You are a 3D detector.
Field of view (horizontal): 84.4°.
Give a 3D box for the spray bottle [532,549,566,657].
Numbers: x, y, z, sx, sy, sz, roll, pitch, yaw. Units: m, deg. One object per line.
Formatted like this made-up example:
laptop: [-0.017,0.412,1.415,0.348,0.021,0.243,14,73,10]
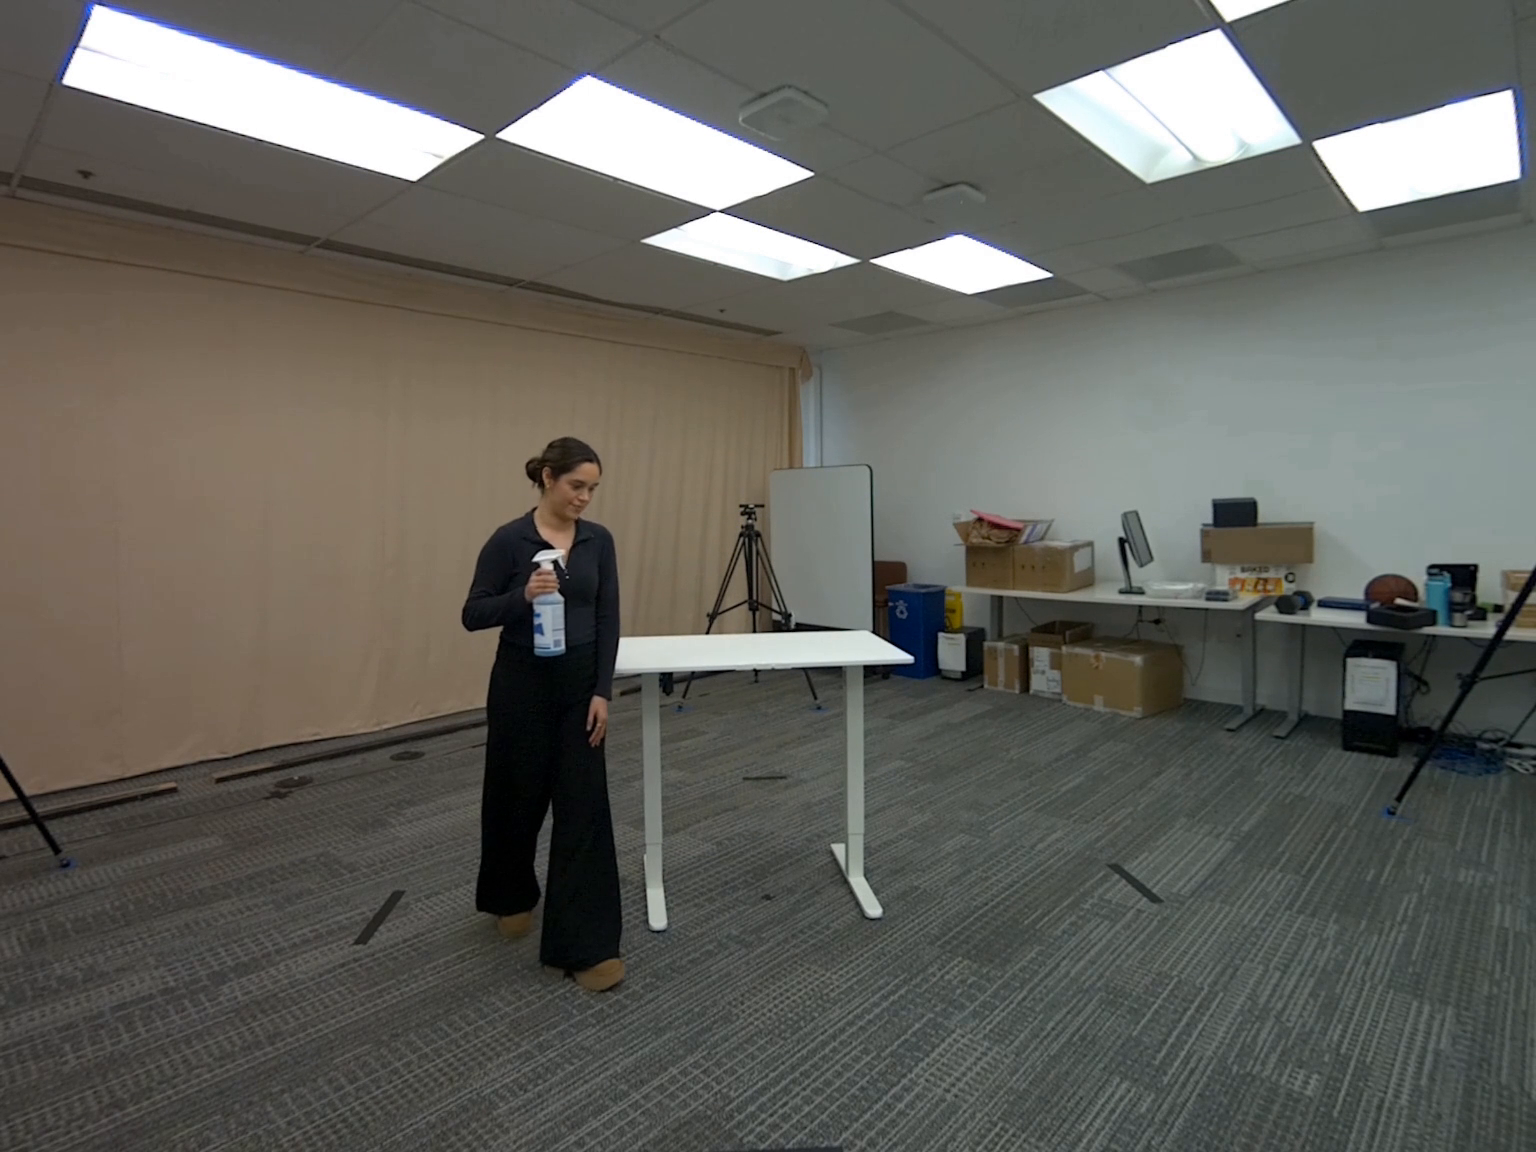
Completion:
spray bottle: [-0.613,0.077,2.399,0.092,0.297,0.085,4,4,17]
